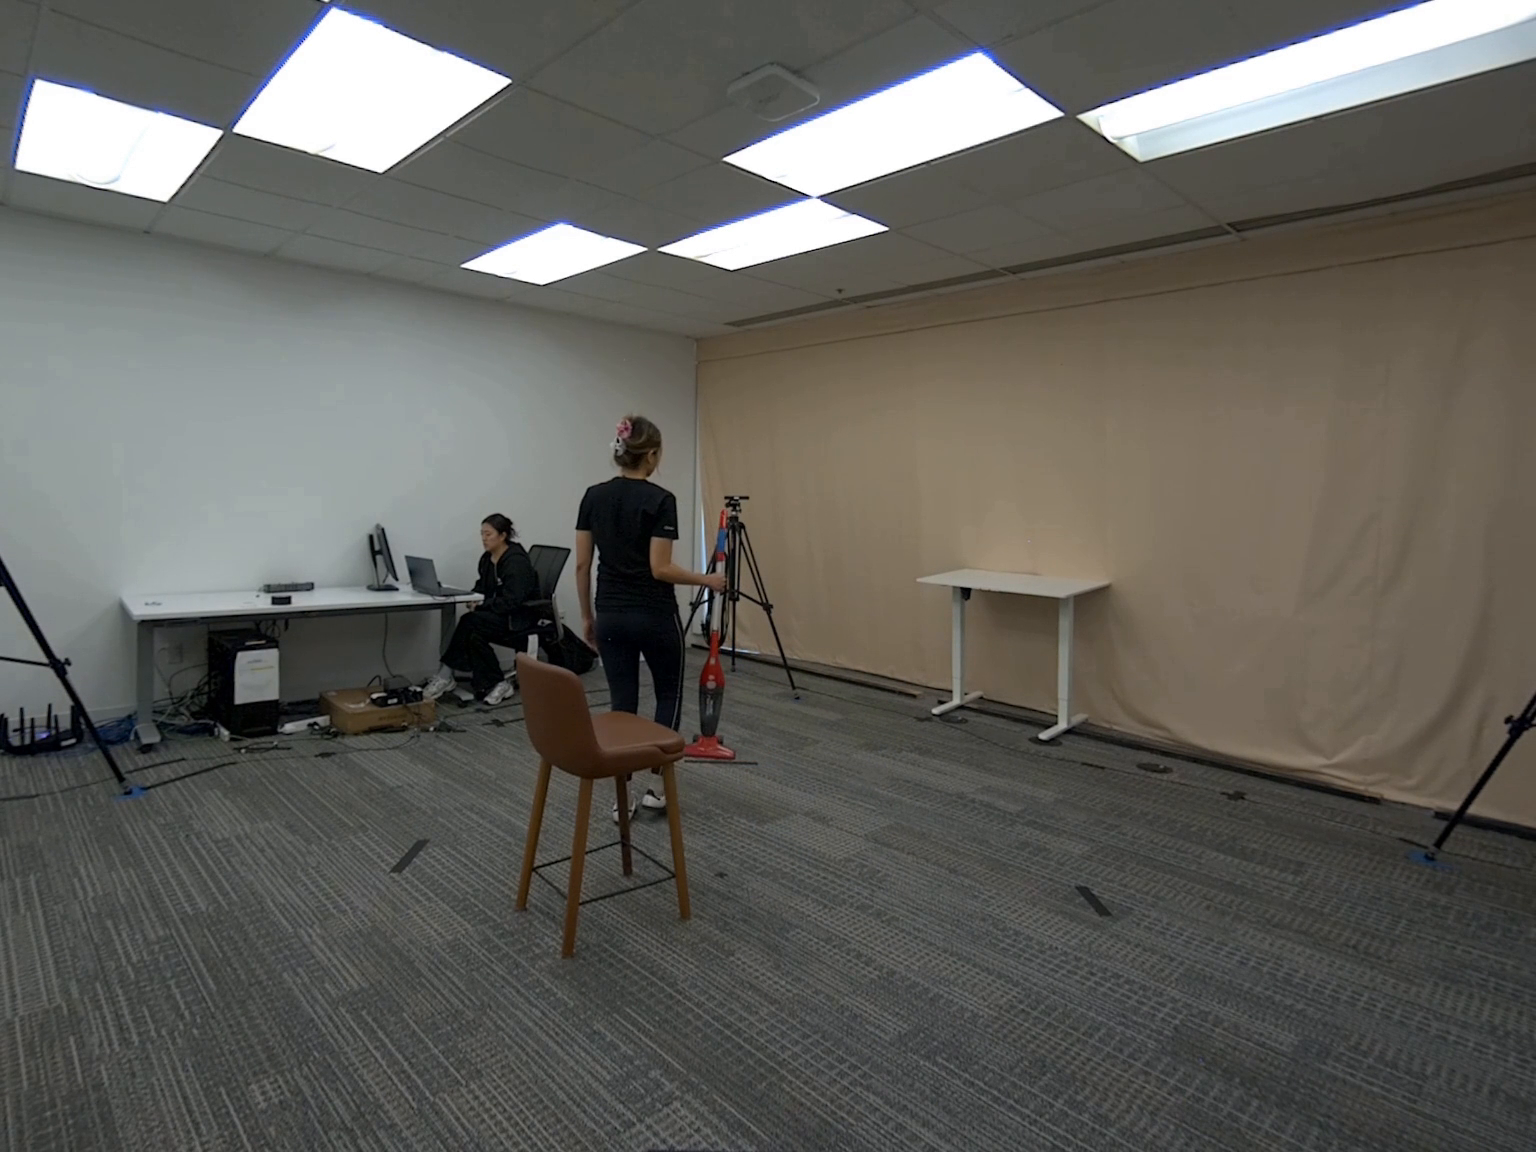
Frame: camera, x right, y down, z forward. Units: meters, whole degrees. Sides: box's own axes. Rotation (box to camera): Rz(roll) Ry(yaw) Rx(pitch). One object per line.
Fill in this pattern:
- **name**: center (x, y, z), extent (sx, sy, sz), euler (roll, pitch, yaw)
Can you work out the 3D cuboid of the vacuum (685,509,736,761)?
- **vacuum**: center (-0.236, 0.231, 3.699), extent (0.253, 1.054, 0.143), euler (3, -6, 3)
